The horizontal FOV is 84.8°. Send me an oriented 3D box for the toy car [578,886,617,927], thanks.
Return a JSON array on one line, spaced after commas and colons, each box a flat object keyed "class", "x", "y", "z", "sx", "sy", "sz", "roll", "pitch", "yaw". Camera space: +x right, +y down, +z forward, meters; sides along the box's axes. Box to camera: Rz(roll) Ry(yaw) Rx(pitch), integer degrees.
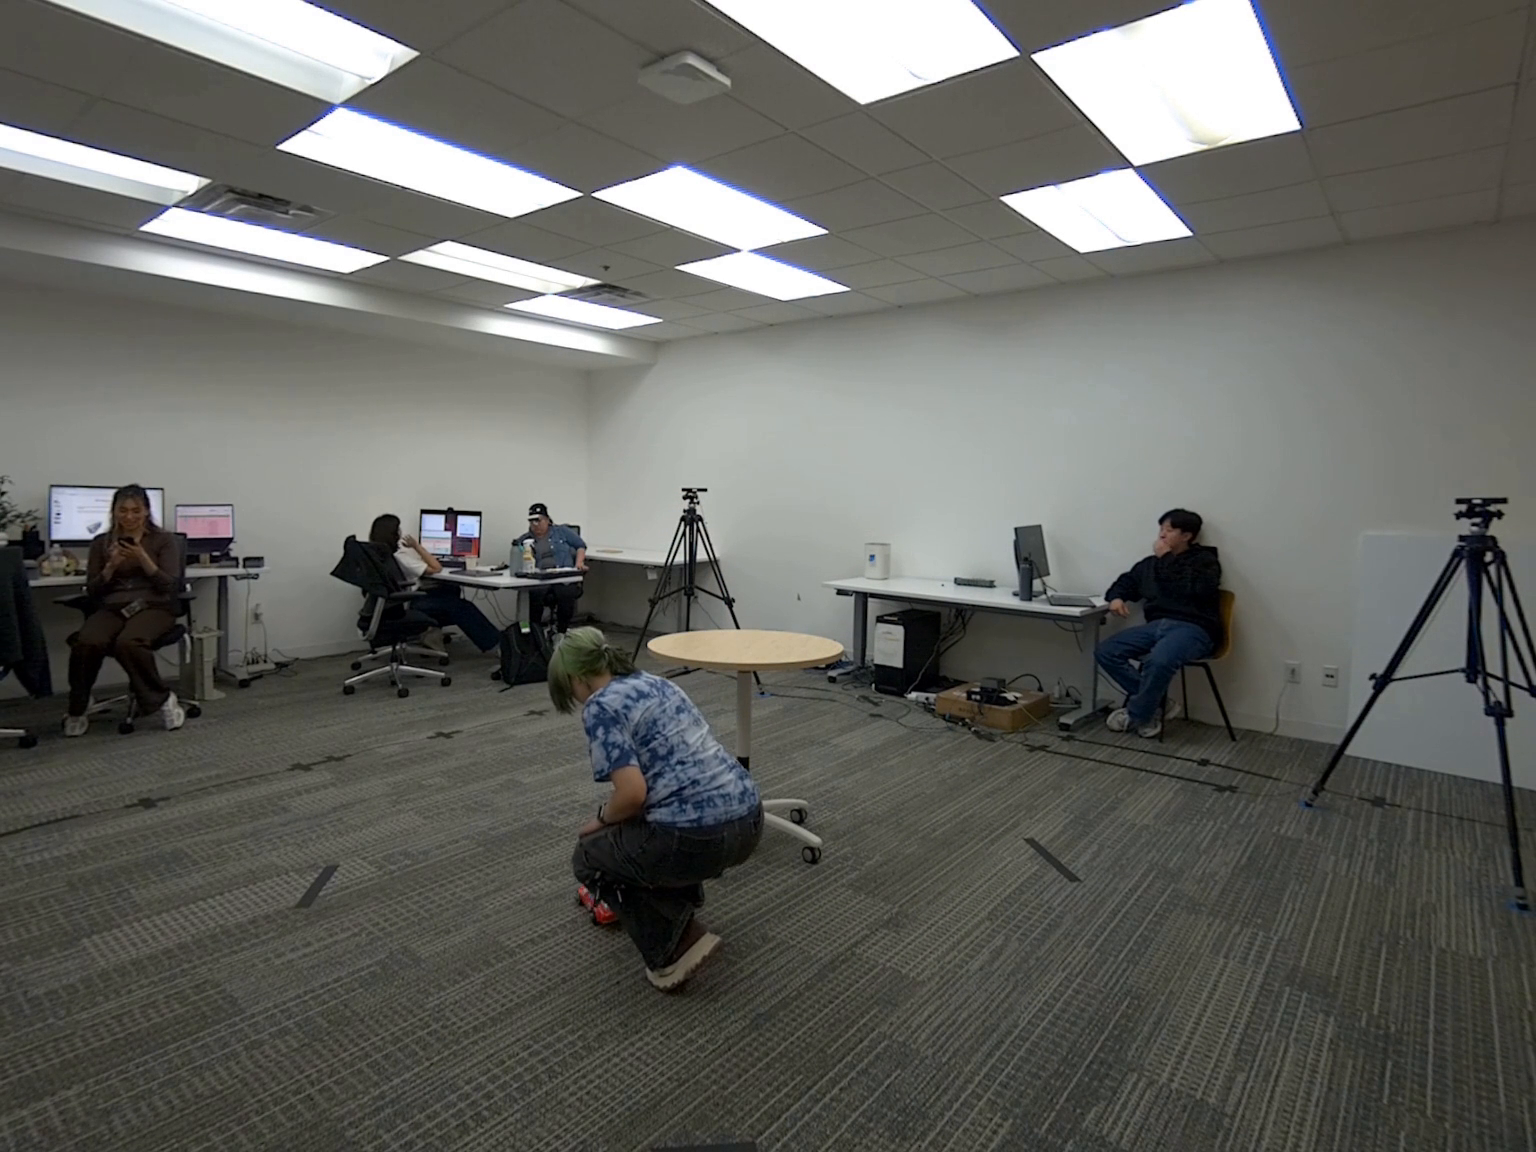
[{"class": "toy car", "x": -0.546, "y": 1.067, "z": 2.769, "sx": 0.127, "sy": 0.083, "sz": 0.260, "roll": -2, "pitch": -3, "yaw": -29}]
